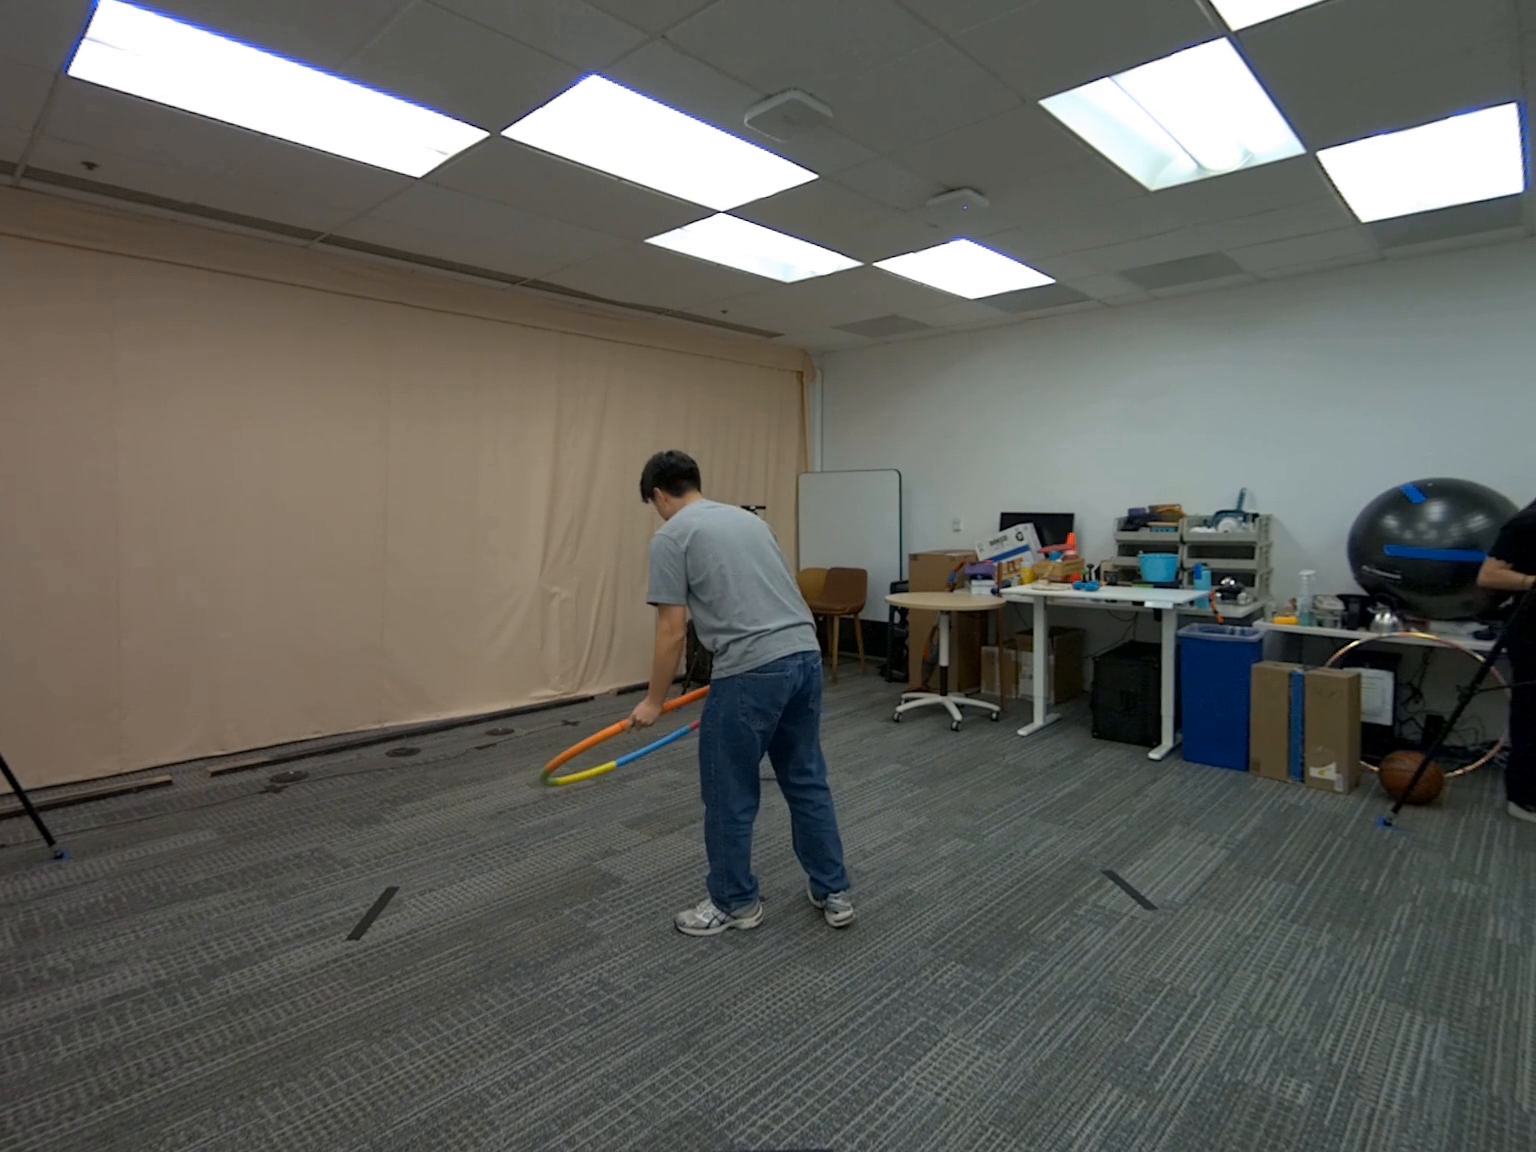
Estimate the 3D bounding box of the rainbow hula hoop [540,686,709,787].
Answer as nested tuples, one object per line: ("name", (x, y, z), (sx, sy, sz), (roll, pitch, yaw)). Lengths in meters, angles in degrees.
("rainbow hula hoop", (-0.438, 0.591, 3.250), (0.972, 0.036, 0.969), (-24, -14, -9))
